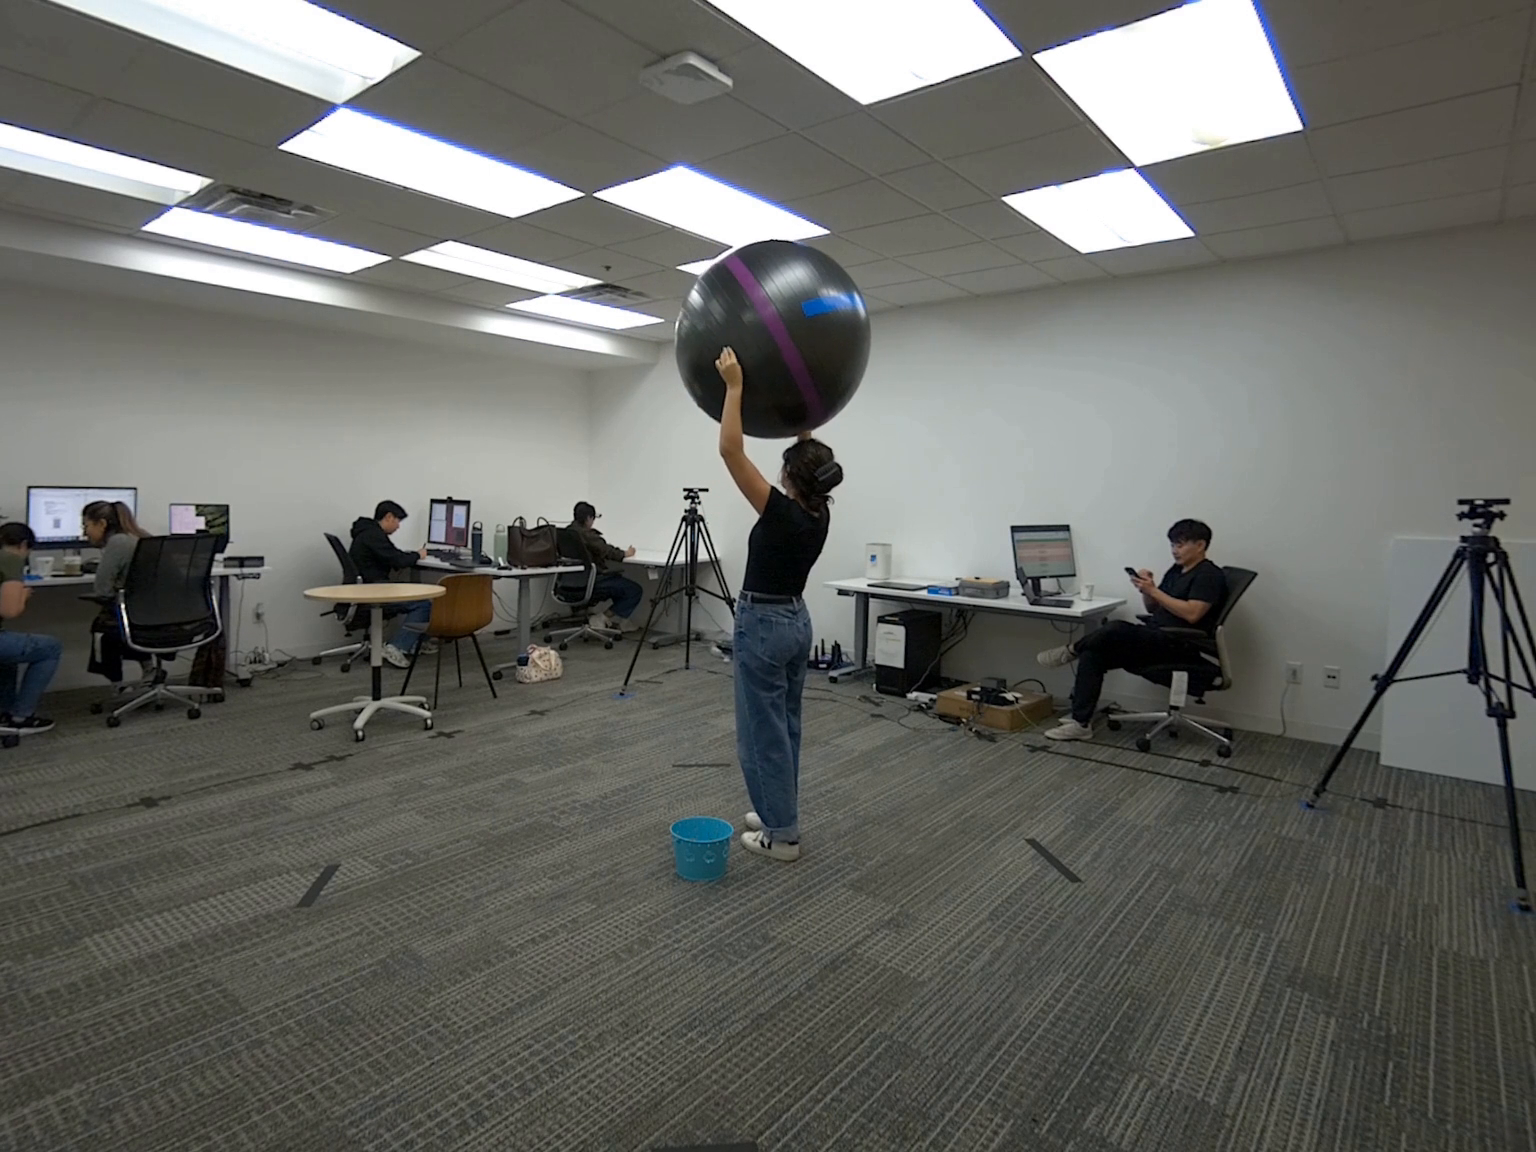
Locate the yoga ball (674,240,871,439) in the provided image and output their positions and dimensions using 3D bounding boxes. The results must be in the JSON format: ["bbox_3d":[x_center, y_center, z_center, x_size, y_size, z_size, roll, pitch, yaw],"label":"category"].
[{"bbox_3d":[0.010,-0.915,3.319,0.757,0.756,0.762,1,4,-2],"label":"yoga ball"}]
